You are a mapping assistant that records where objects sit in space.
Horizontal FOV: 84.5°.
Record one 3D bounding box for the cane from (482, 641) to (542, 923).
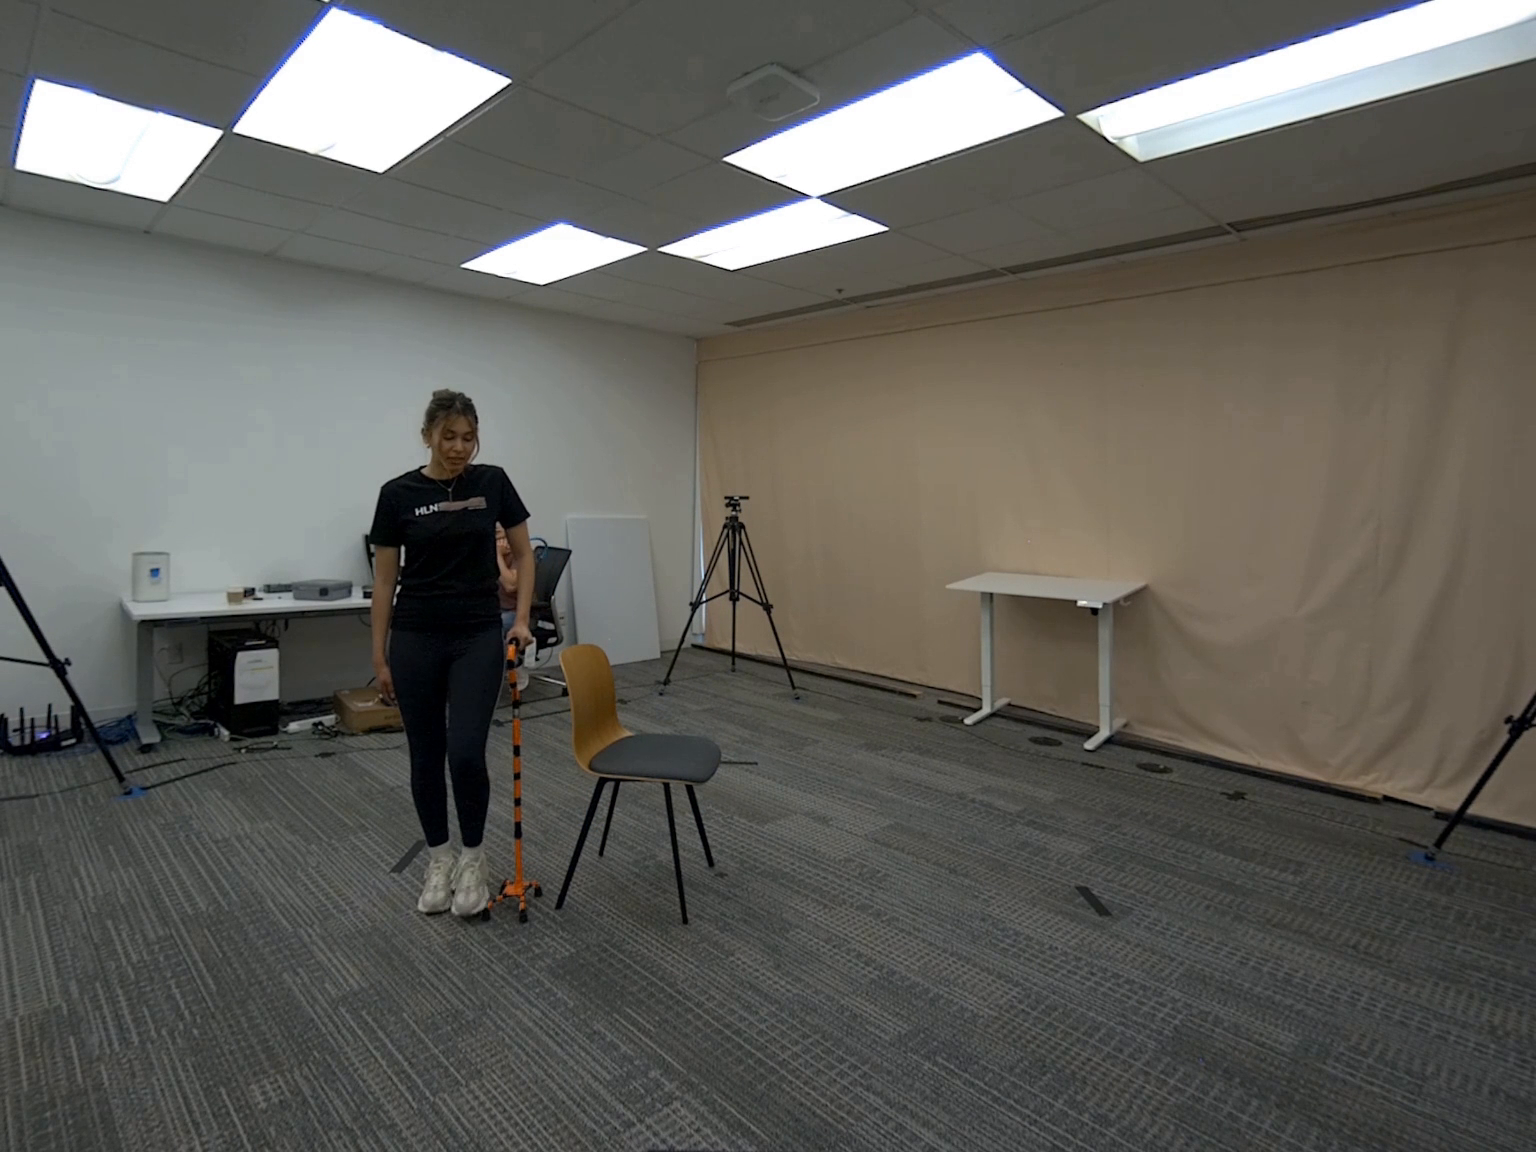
[{"bbox_3d":[-0.856,0.670,2.800,0.151,0.907,0.207,0,2,-3],"label":"cane"}]
